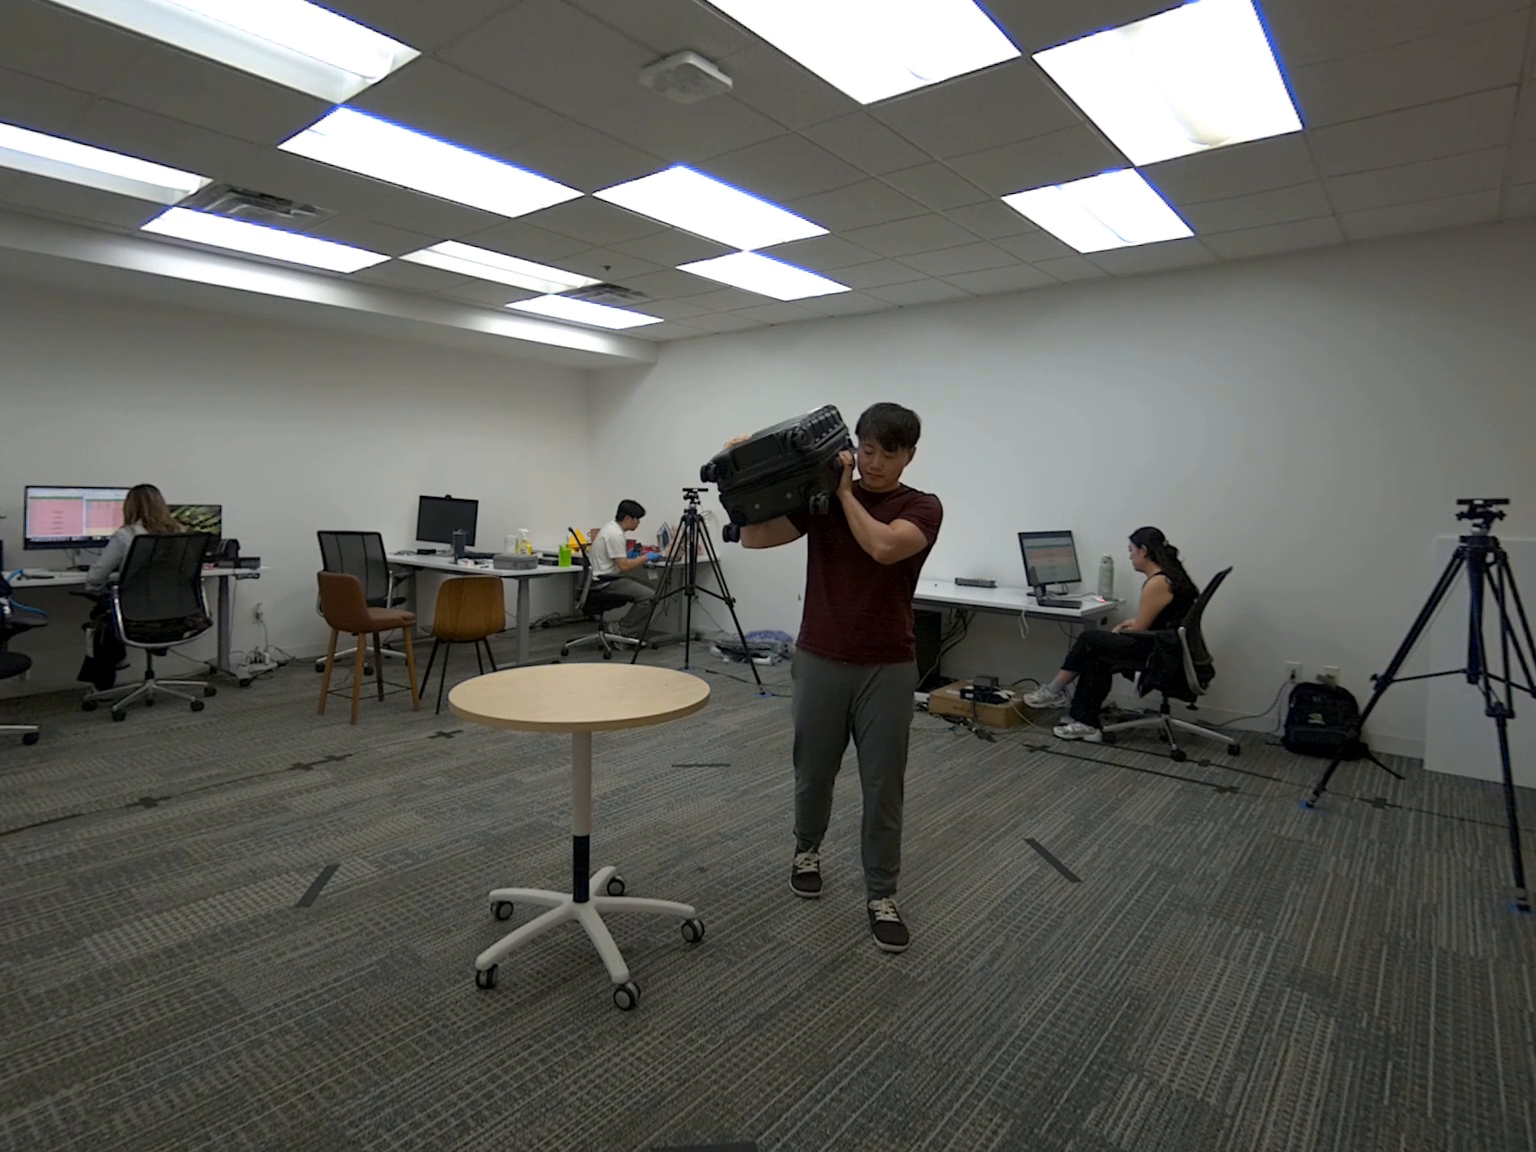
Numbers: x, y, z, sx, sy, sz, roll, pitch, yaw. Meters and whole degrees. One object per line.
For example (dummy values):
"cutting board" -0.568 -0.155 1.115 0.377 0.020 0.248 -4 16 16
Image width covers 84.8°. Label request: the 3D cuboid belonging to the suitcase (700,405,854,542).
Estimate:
"suitcase" 0.106 -0.431 2.911 0.390 0.253 0.978 -18 14 23
